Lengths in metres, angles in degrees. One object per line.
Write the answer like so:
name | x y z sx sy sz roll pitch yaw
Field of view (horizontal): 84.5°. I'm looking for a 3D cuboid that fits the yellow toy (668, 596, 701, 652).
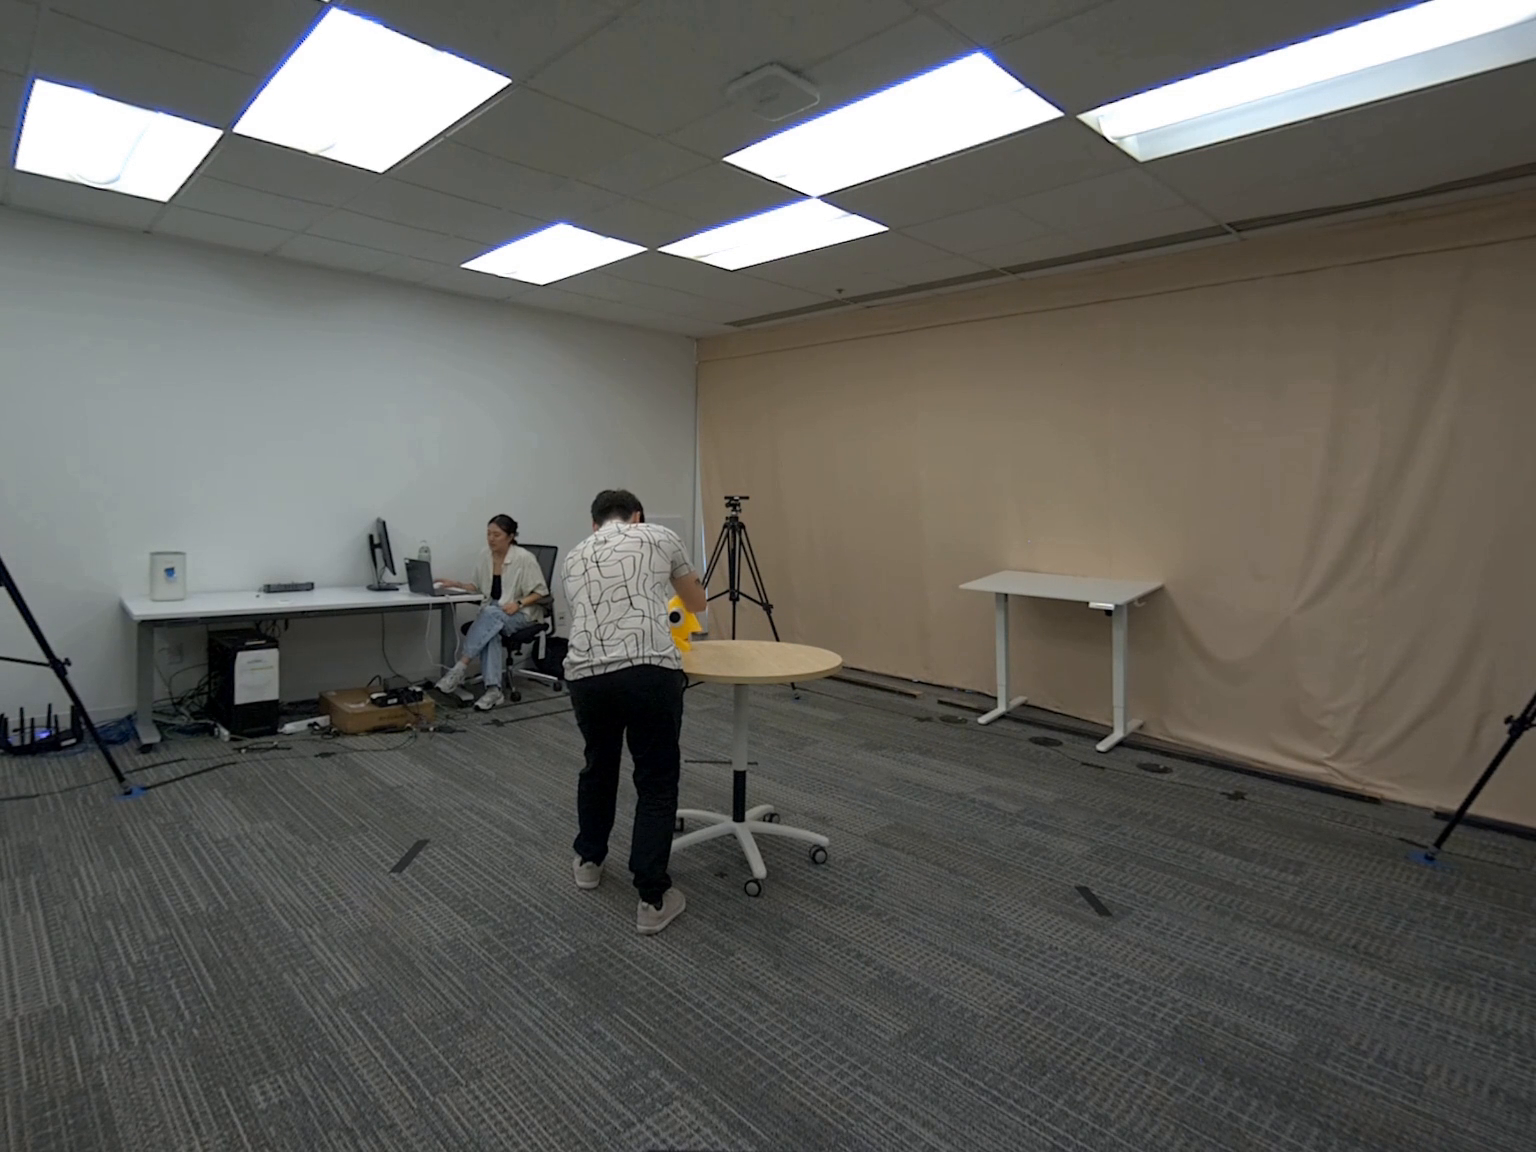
yellow toy | -0.403 0.179 3.408 0.189 0.230 0.209 -1 4 -30
